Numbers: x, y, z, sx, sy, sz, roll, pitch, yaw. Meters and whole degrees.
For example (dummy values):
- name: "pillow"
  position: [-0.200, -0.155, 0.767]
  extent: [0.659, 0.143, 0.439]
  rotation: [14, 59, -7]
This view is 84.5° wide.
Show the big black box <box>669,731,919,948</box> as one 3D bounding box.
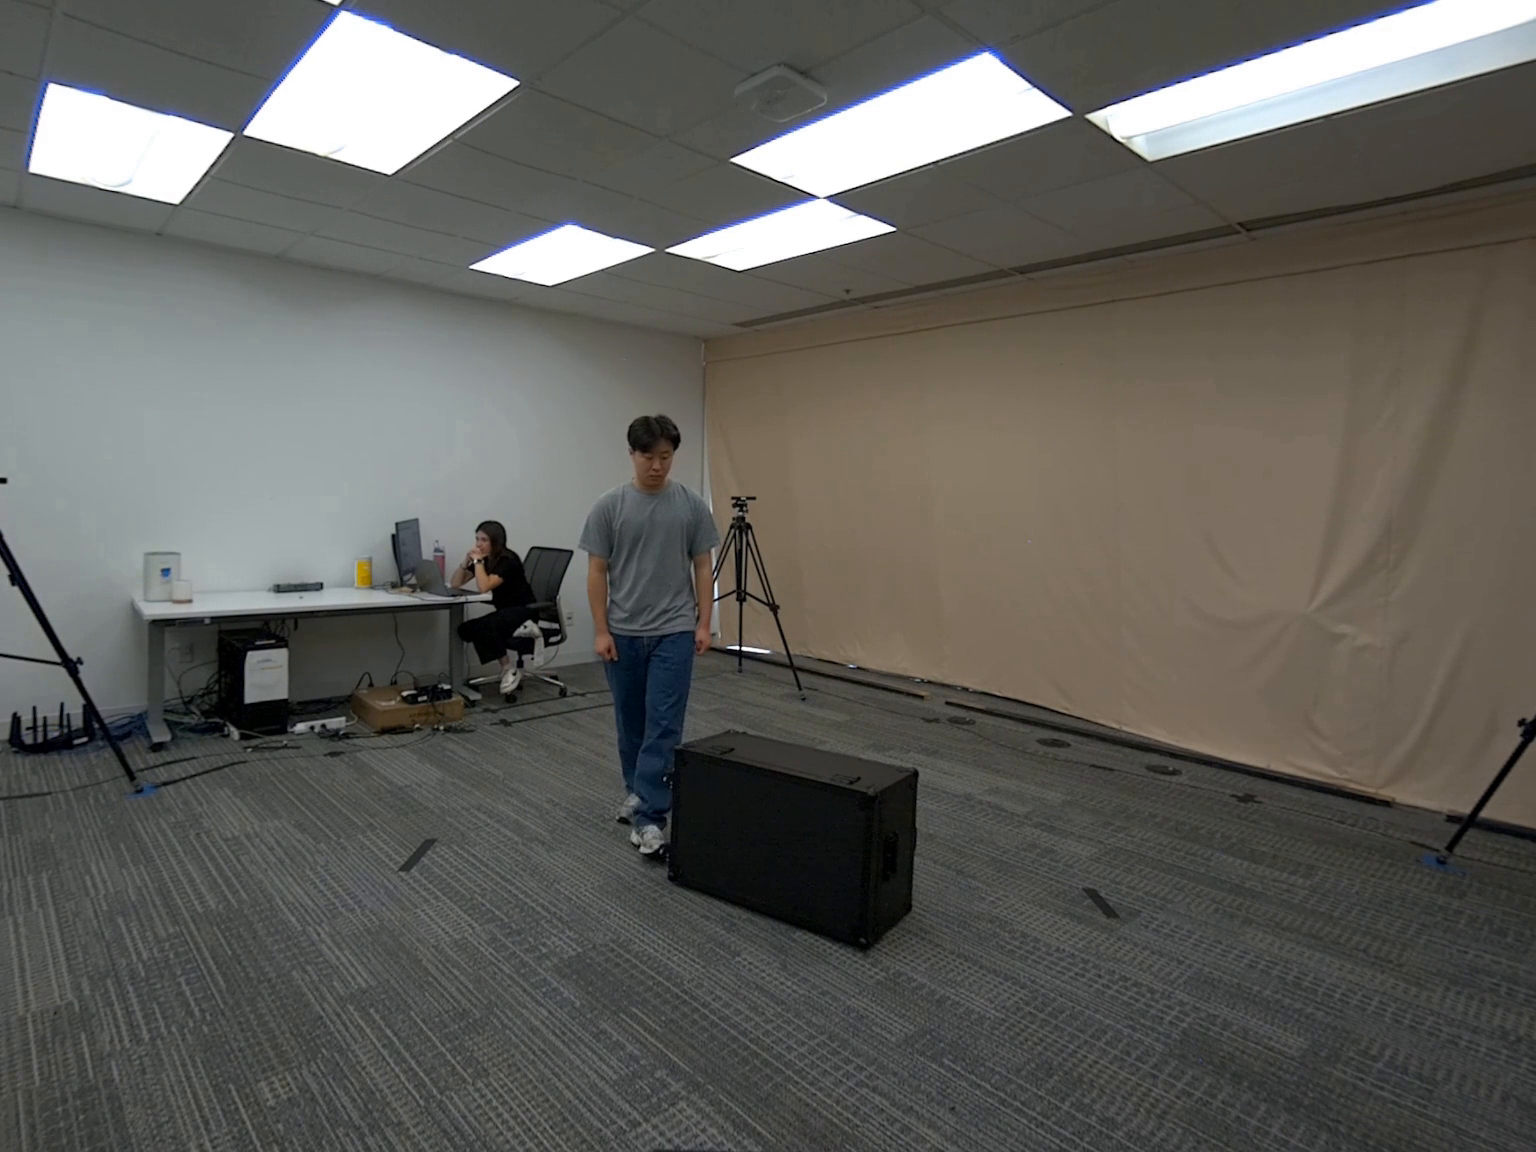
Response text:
- name: "big black box"
  position: [0.055, 0.866, 2.963]
  extent: [0.882, 0.520, 0.387]
  rotation: [5, 3, 33]
